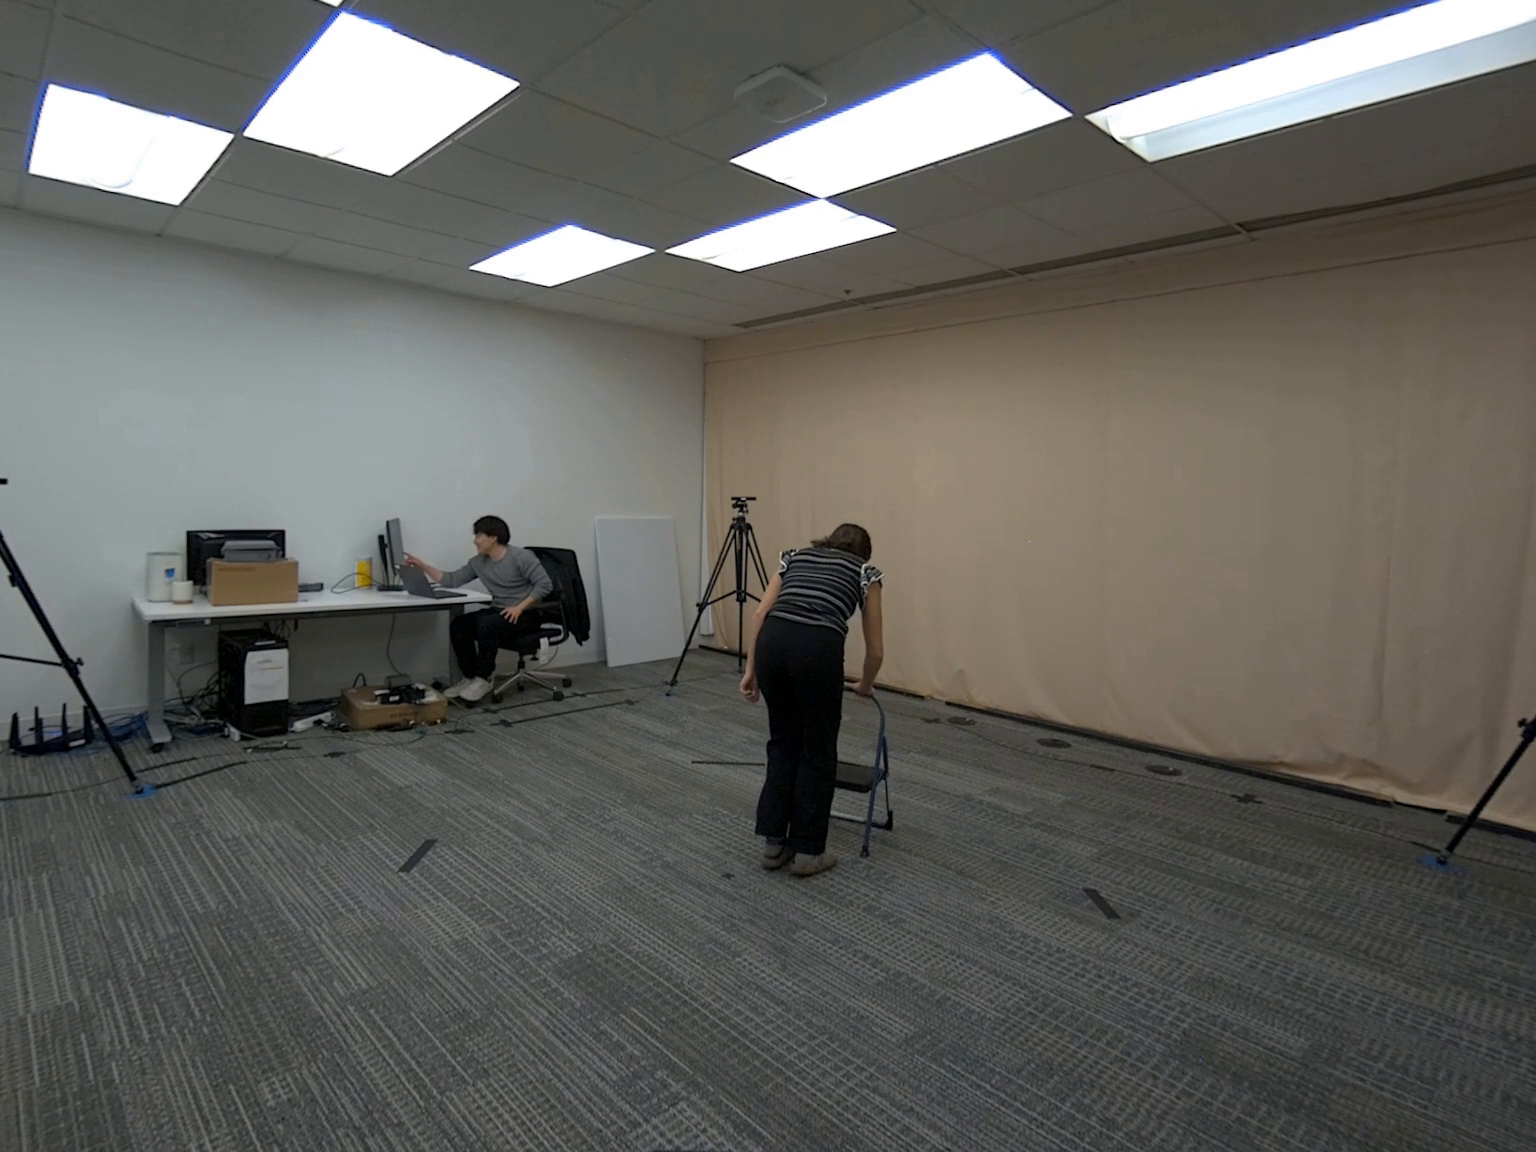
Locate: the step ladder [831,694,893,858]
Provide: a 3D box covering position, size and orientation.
[{"bbox_3d":[0.279,0.777,3.536,0.440,0.605,0.342,3,3,28],"label":"step ladder"}]
